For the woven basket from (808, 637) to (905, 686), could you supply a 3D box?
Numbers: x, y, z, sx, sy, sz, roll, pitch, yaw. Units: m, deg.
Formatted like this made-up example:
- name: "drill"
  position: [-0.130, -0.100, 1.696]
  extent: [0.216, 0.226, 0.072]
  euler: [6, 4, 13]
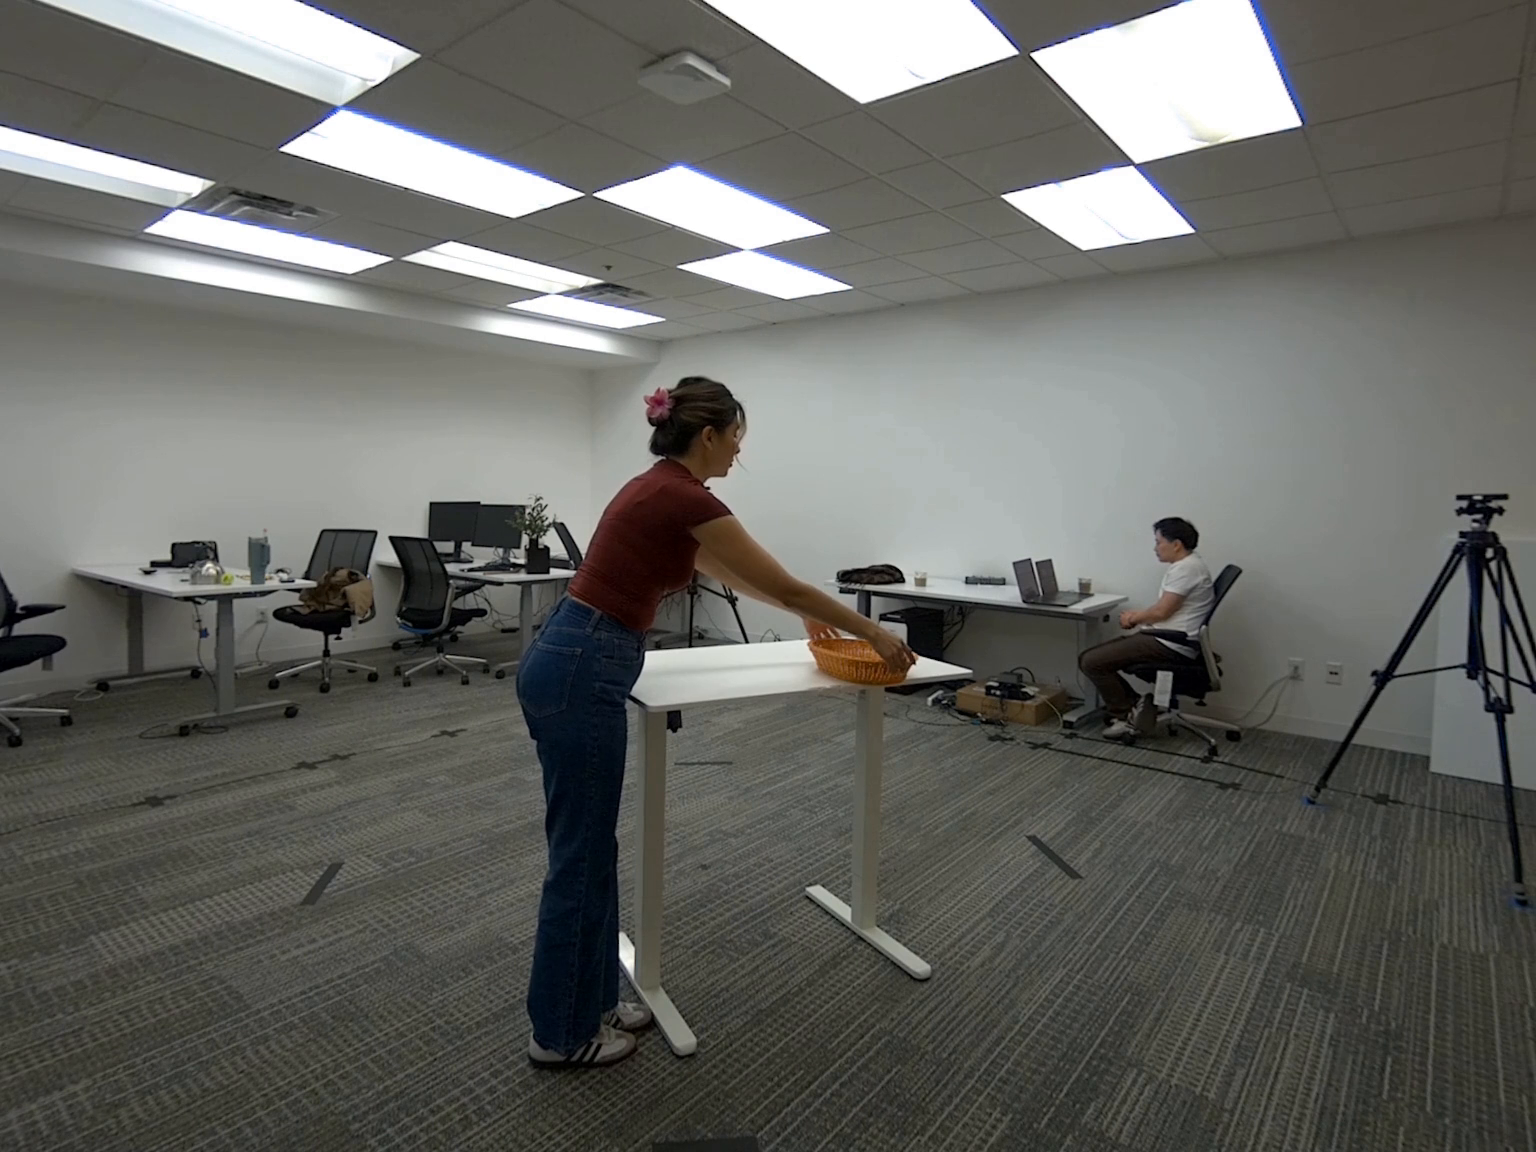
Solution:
- name: "woven basket"
  position: [0.263, 0.240, 2.351]
  extent: [0.246, 0.073, 0.360]
  euler: [0, 6, -26]
